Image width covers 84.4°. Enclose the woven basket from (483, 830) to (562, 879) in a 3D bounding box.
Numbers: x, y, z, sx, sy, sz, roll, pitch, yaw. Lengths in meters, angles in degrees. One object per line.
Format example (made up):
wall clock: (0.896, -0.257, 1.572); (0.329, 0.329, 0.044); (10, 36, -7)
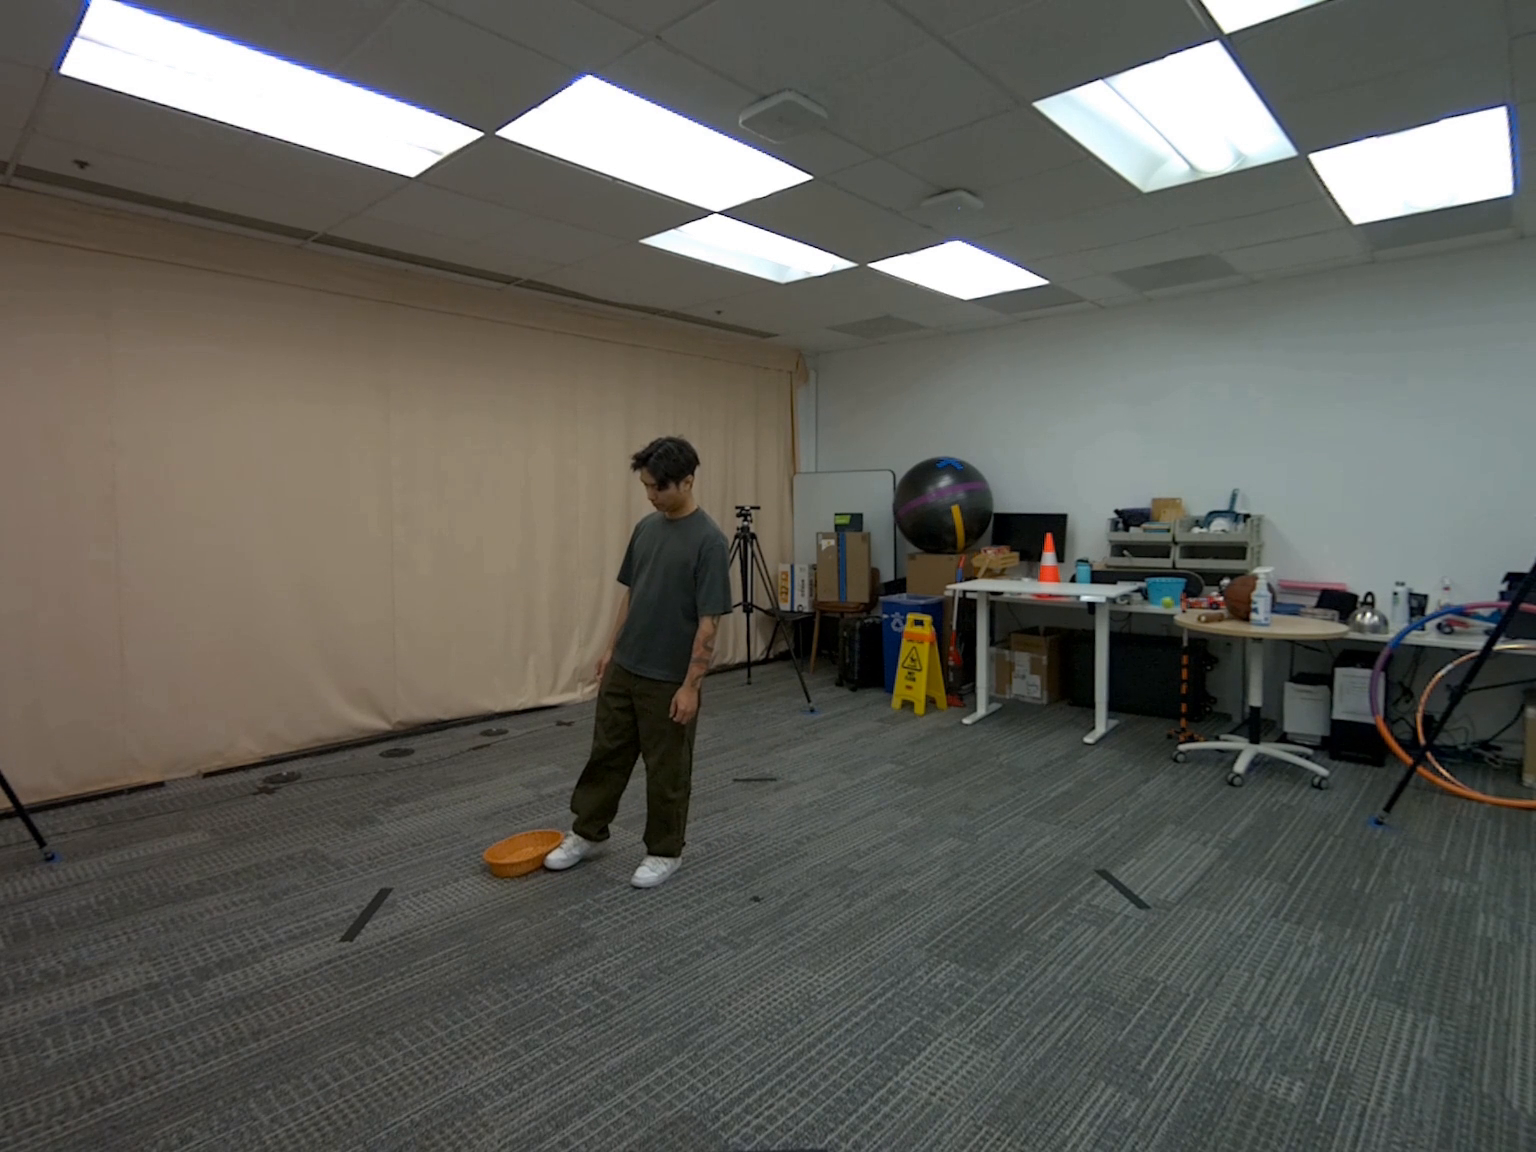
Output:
woven basket: (-0.952, 1.091, 3.297); (0.260, 0.073, 0.340); (-1, 4, 34)
